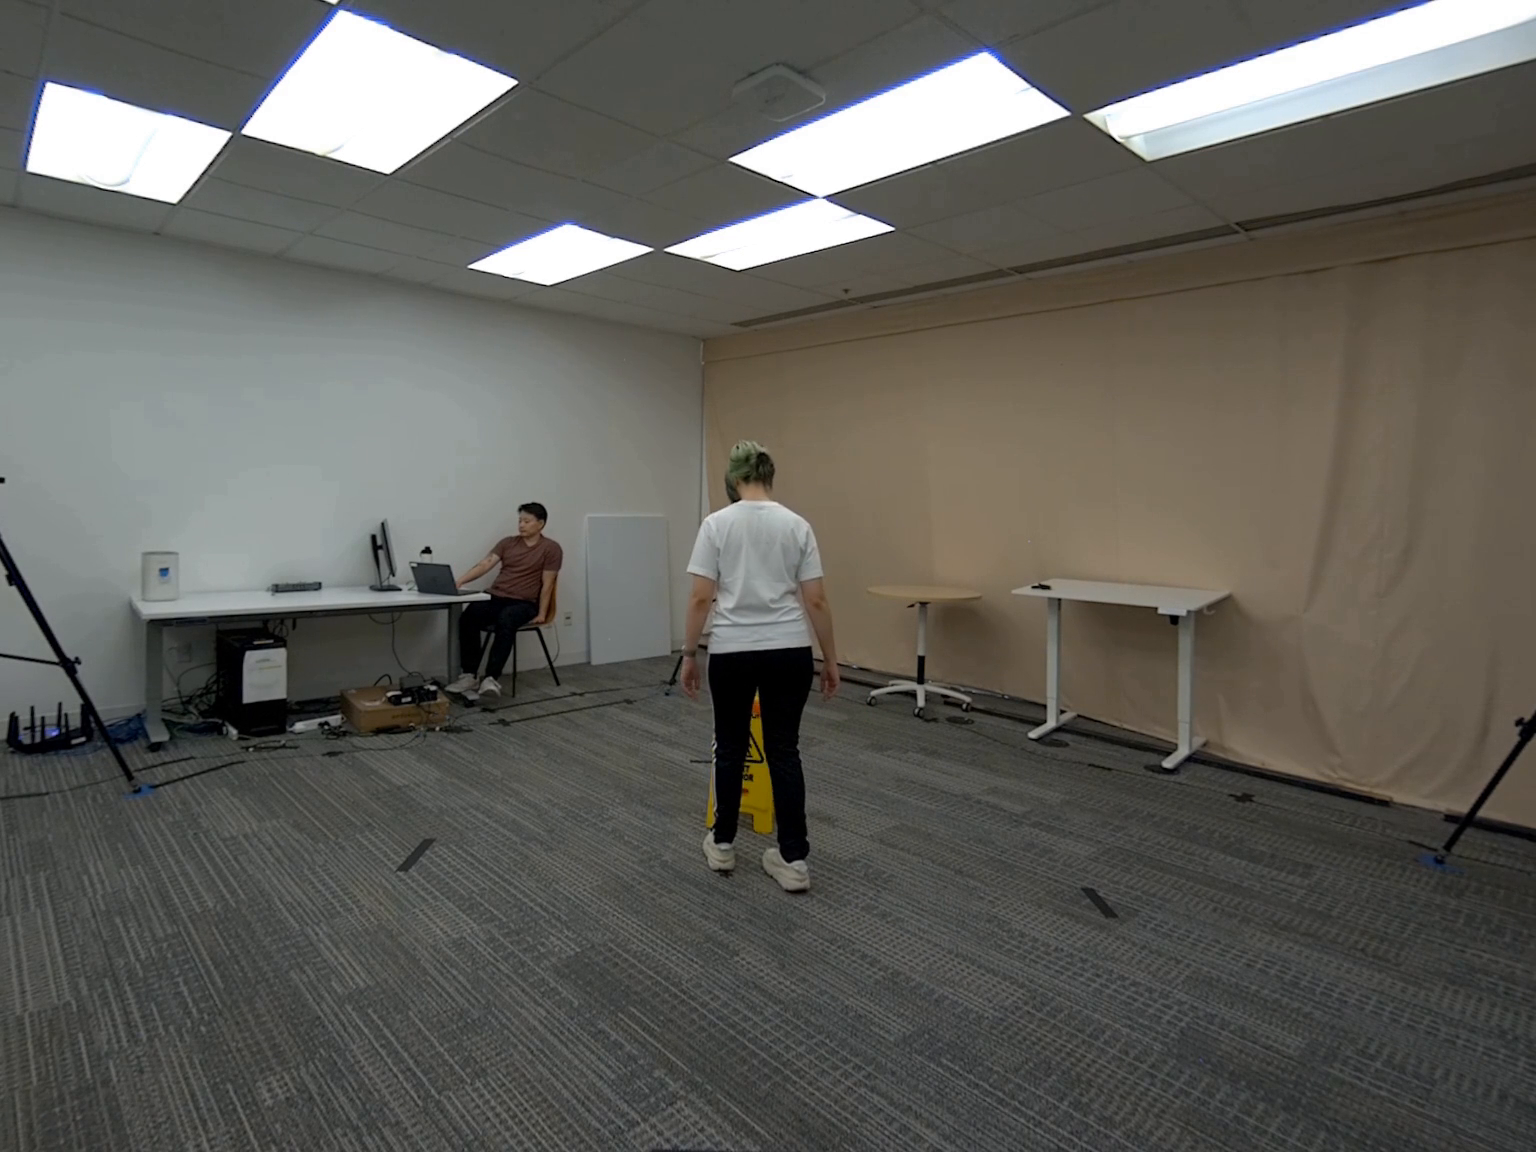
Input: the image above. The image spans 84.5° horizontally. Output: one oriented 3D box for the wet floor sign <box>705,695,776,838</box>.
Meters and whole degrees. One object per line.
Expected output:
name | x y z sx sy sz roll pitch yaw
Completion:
wet floor sign | -0.095 0.736 3.634 0.284 0.645 0.288 3 2 6
